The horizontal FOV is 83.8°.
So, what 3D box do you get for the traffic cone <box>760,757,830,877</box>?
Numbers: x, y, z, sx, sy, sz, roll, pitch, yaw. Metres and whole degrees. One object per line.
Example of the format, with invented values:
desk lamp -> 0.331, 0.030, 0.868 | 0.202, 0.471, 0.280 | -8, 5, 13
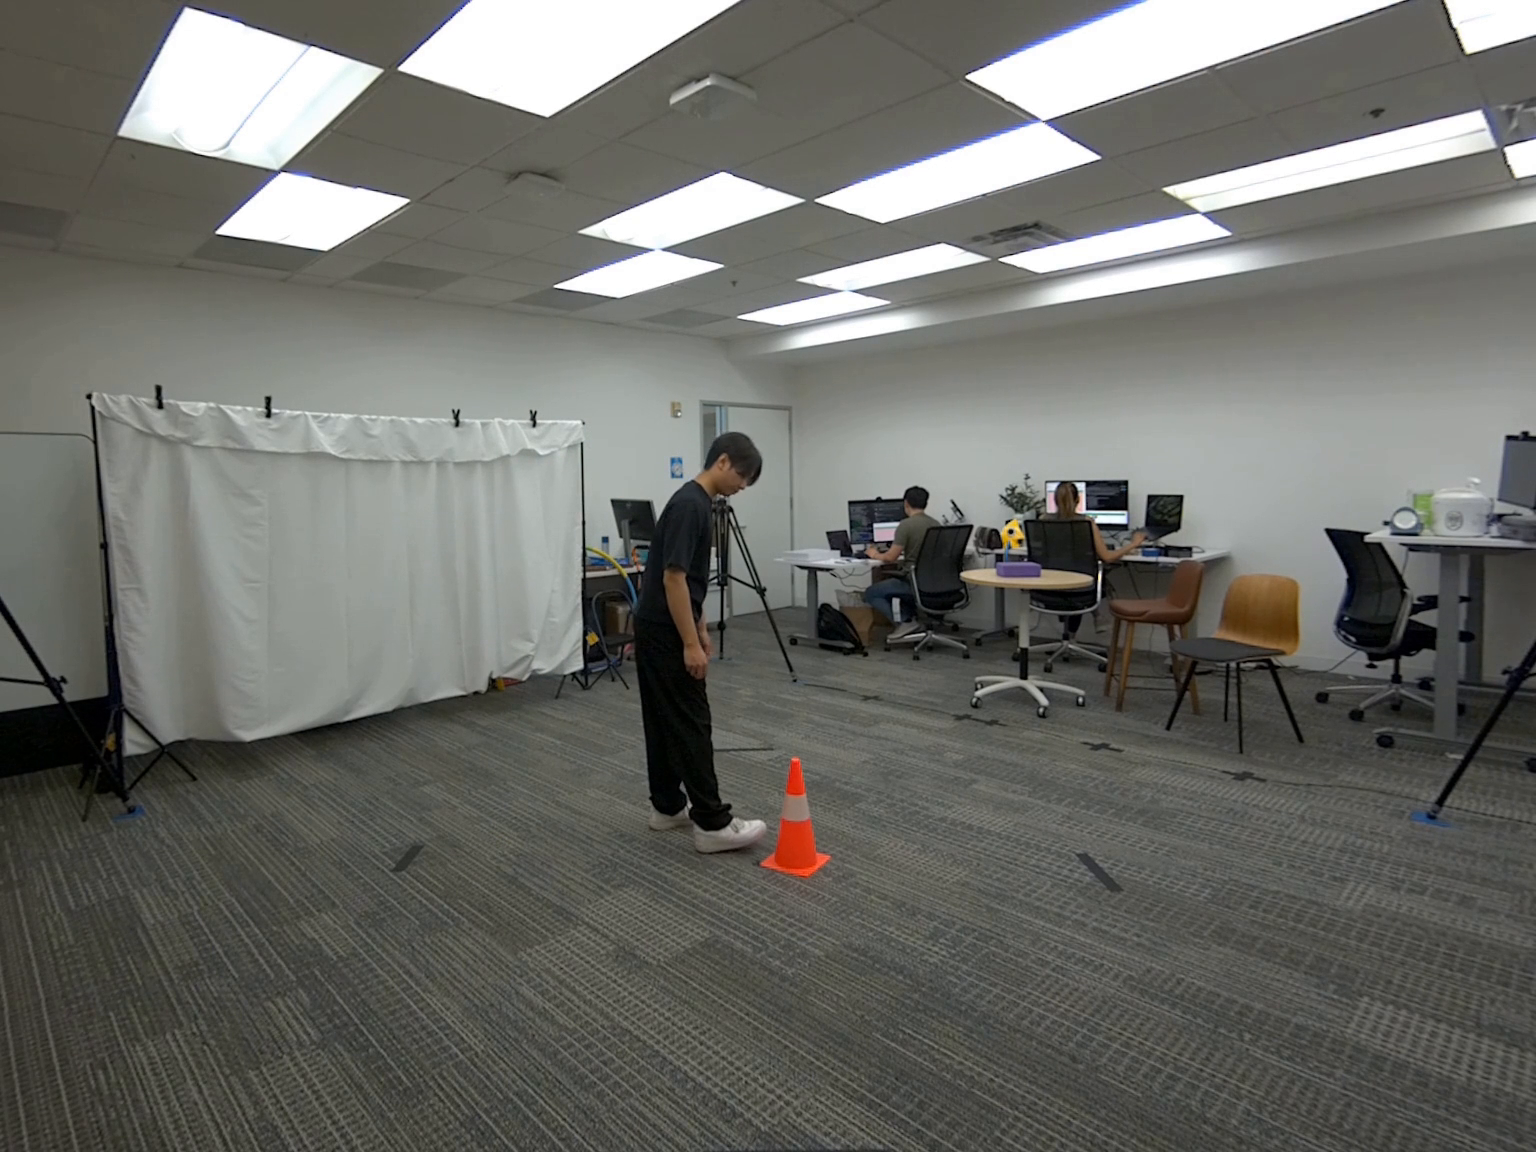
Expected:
traffic cone -> 0.100, 0.863, 3.117 | 0.200, 0.382, 0.209 | -7, 6, -41
